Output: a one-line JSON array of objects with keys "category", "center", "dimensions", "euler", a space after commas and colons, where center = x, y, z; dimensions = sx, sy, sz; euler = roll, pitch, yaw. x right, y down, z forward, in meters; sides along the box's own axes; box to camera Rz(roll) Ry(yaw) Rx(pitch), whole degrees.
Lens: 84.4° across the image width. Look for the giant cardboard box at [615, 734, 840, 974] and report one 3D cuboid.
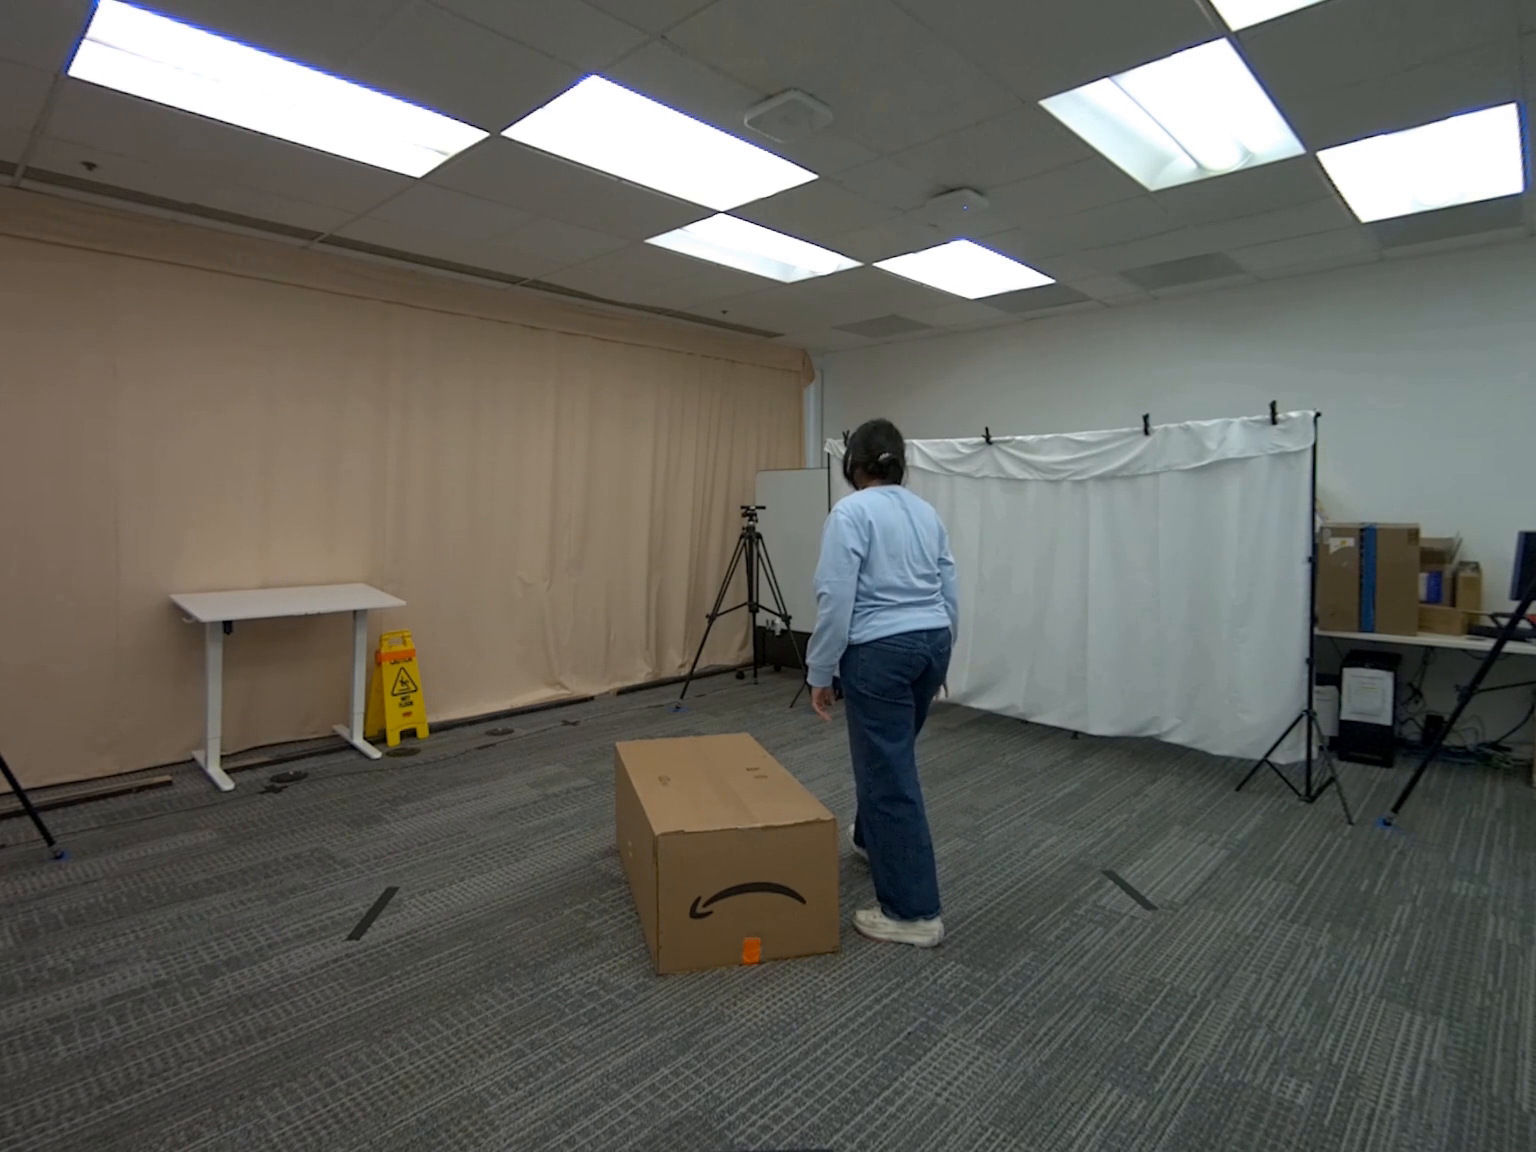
[{"category": "giant cardboard box", "center": [-0.204, 0.927, 3.044], "dimensions": [0.568, 0.425, 1.044], "euler": [-1, 5, -16]}]
